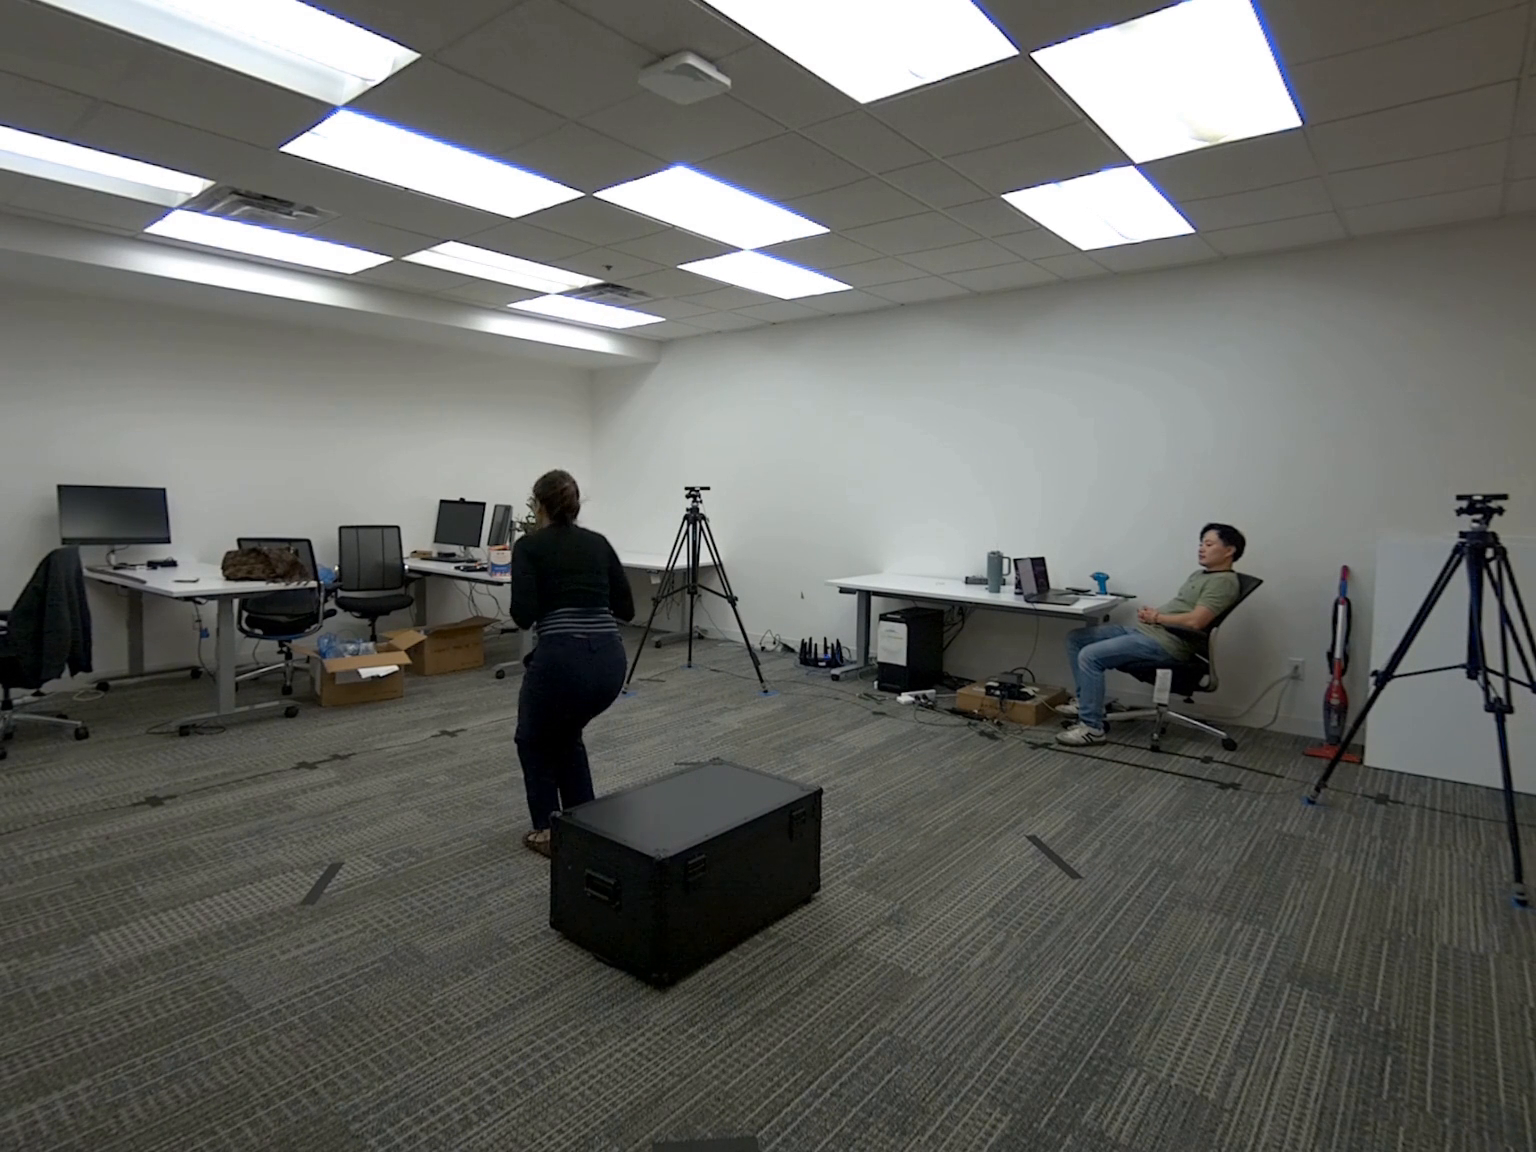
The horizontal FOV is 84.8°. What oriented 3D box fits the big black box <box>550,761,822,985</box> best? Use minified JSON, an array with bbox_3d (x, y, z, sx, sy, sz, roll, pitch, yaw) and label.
[{"bbox_3d":[-0.275,0.909,2.737,0.538,0.395,0.836,4,5,39],"label":"big black box"}]
